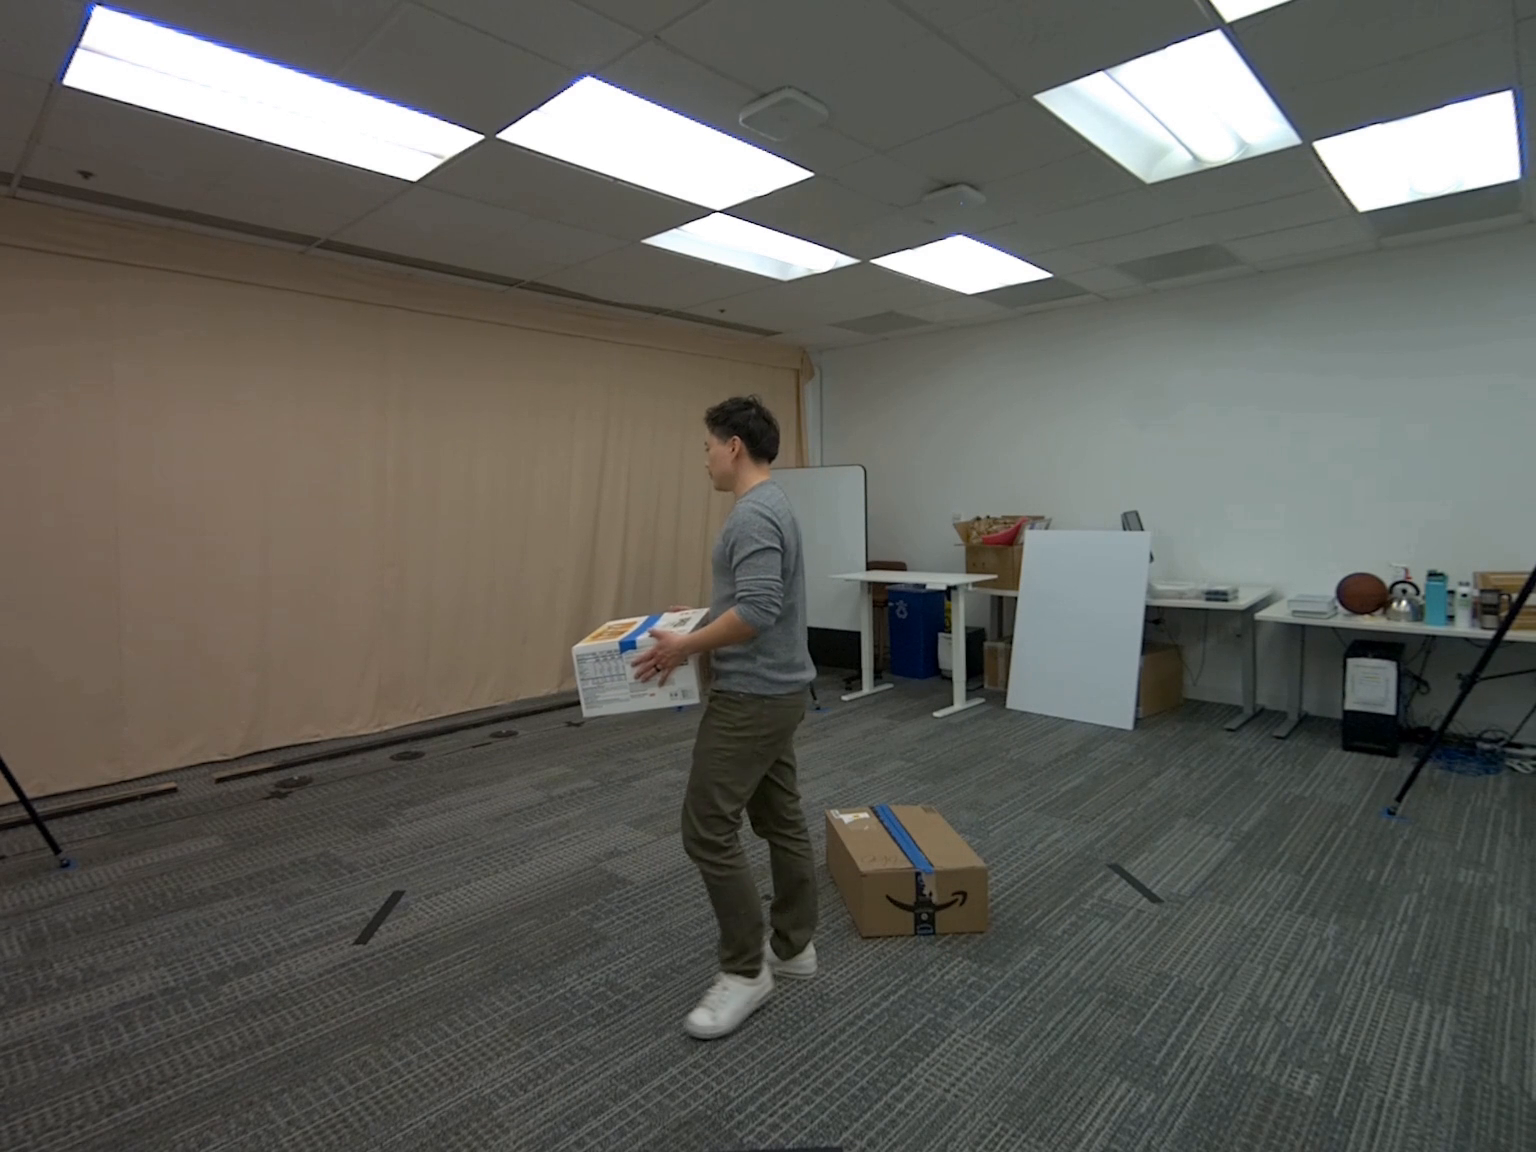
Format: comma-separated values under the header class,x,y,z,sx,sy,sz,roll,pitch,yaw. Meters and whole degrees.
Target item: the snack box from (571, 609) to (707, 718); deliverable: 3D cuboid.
class,x,y,z,sx,sy,sz,roll,pitch,yaw
snack box,-0.347,0.251,2.512,0.343,0.205,0.404,-9,6,6
